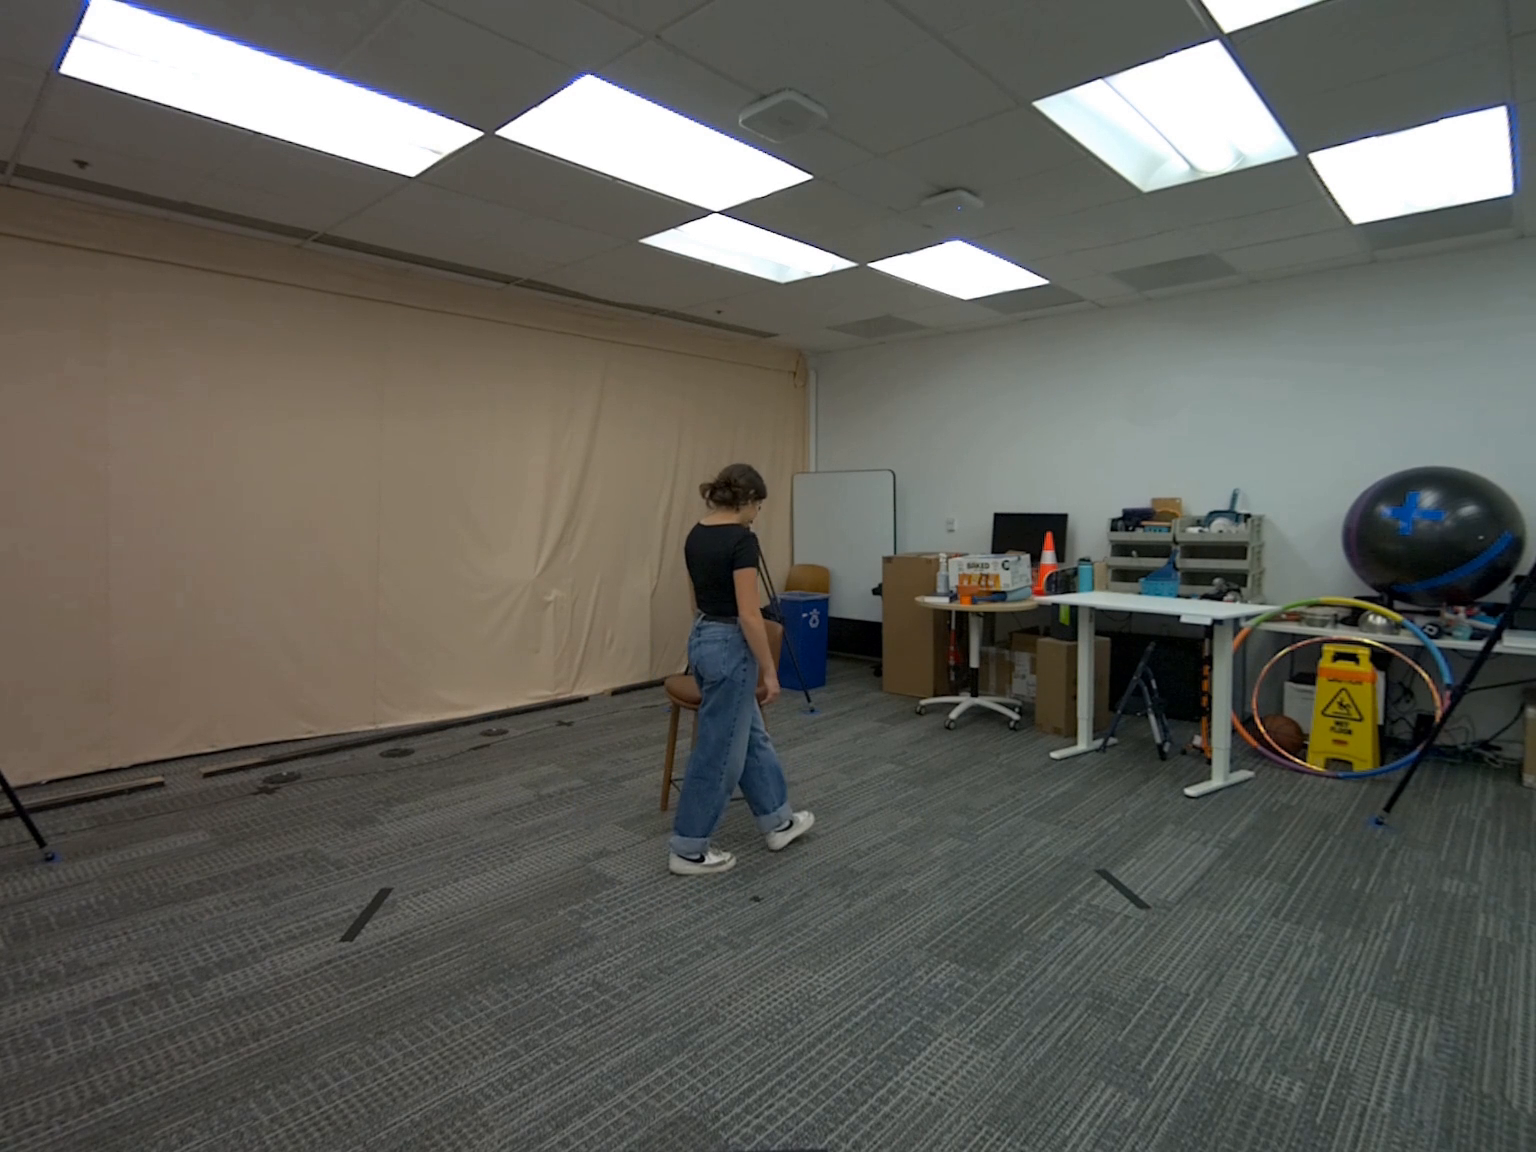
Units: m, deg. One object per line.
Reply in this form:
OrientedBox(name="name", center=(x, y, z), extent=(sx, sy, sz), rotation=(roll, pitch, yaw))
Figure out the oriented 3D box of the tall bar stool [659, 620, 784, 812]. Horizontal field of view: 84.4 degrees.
OrientedBox(name="tall bar stool", center=(-0.215, 0.645, 3.746), extent=(0.458, 0.888, 0.466), rotation=(1, 2, -20))
